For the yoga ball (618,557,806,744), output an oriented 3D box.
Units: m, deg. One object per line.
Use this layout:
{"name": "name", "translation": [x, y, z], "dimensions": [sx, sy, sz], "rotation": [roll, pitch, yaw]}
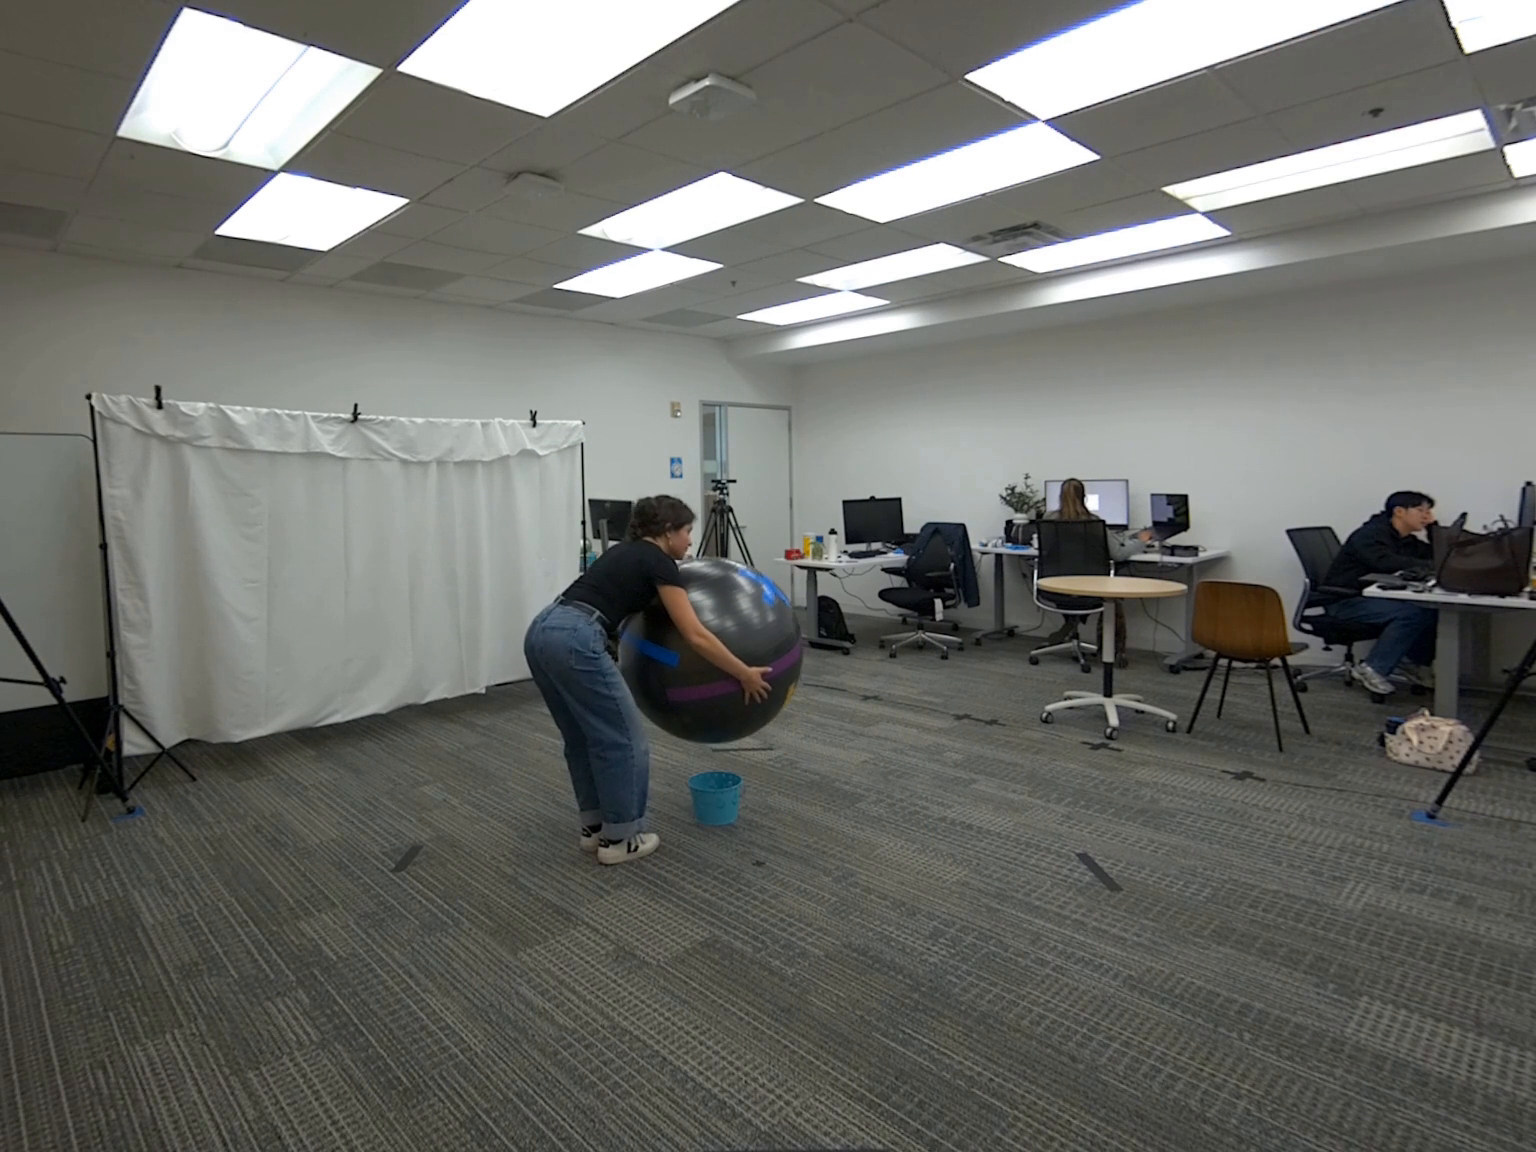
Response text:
{"name": "yoga ball", "translation": [-0.234, 0.307, 3.523], "dimensions": [0.757, 0.755, 0.762], "rotation": [-1, 5, -2]}
